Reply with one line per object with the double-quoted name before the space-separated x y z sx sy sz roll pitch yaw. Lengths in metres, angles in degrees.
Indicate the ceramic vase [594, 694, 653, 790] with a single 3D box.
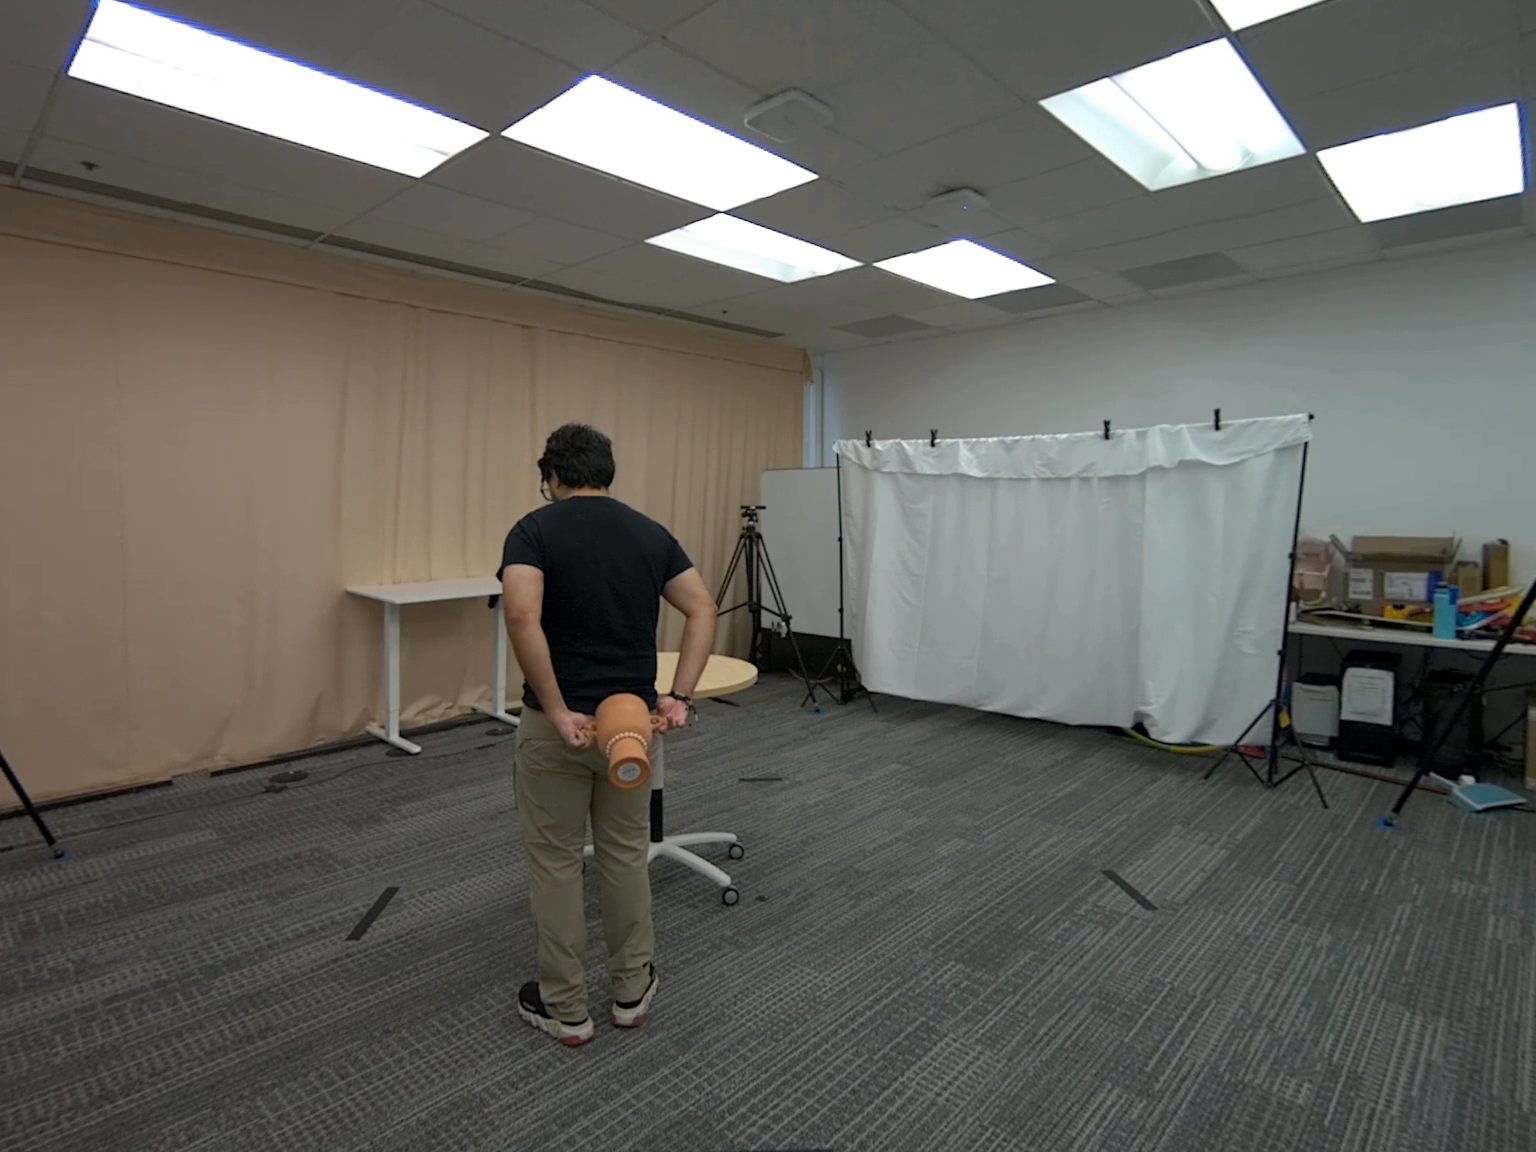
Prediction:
"ceramic vase" -0.336 0.394 2.009 0.131 0.159 0.225 43 11 -28
